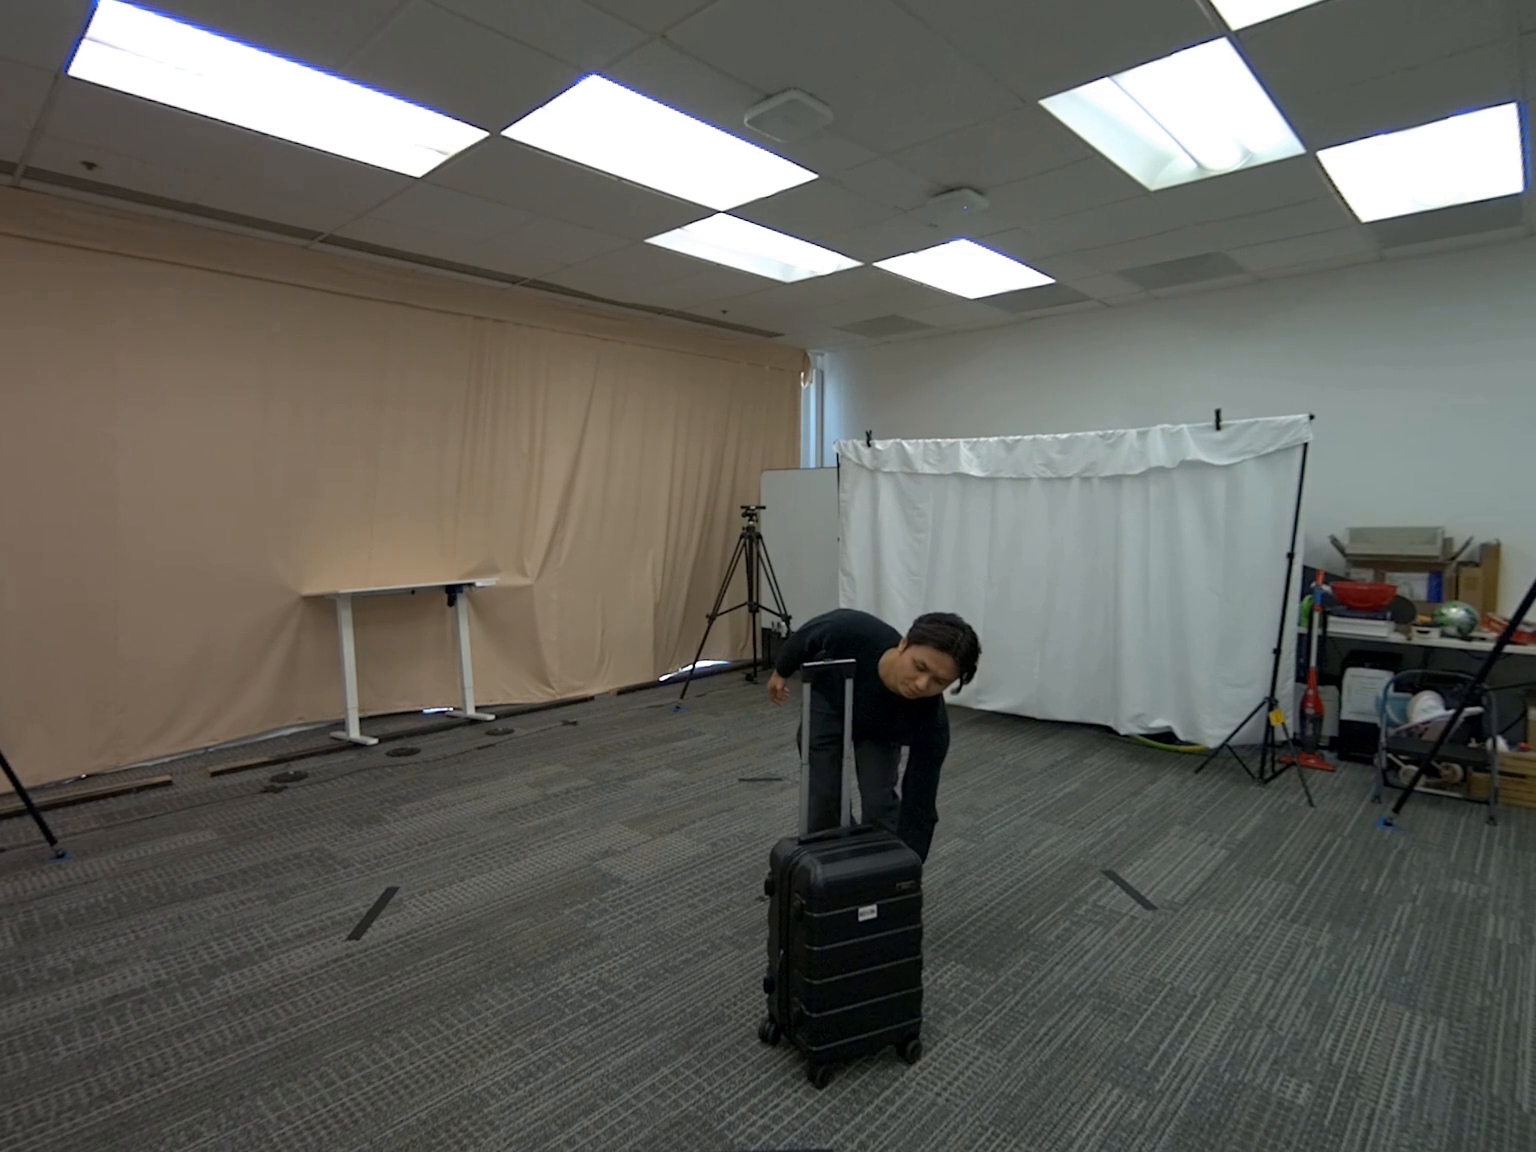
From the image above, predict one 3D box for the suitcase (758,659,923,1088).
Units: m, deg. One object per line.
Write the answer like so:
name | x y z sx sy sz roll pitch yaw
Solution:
suitcase | 0.199 0.733 2.137 0.375 0.976 0.264 -1 5 -26
